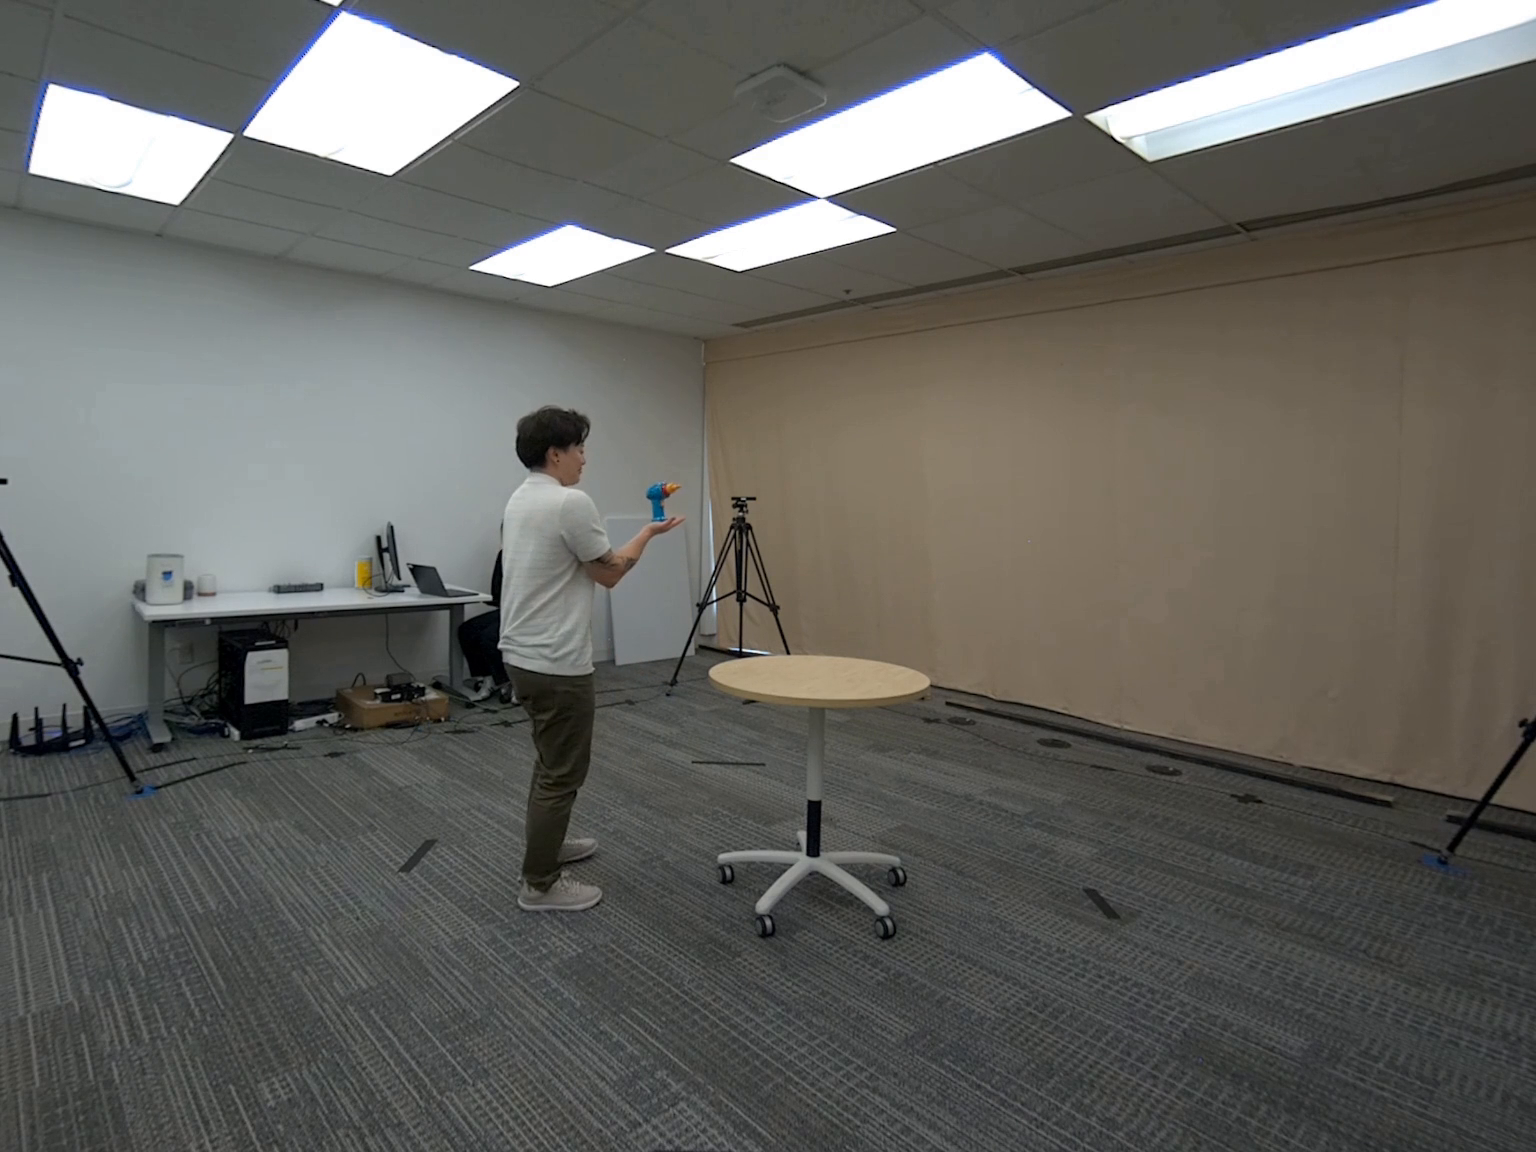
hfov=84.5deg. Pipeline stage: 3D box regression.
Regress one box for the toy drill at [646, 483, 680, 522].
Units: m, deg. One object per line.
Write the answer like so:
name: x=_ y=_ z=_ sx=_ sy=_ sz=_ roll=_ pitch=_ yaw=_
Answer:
toy drill: x=-0.374 y=-0.262 z=2.979 sx=0.173 sy=0.146 sz=0.060 roll=-10 pitch=-1 yaw=36
